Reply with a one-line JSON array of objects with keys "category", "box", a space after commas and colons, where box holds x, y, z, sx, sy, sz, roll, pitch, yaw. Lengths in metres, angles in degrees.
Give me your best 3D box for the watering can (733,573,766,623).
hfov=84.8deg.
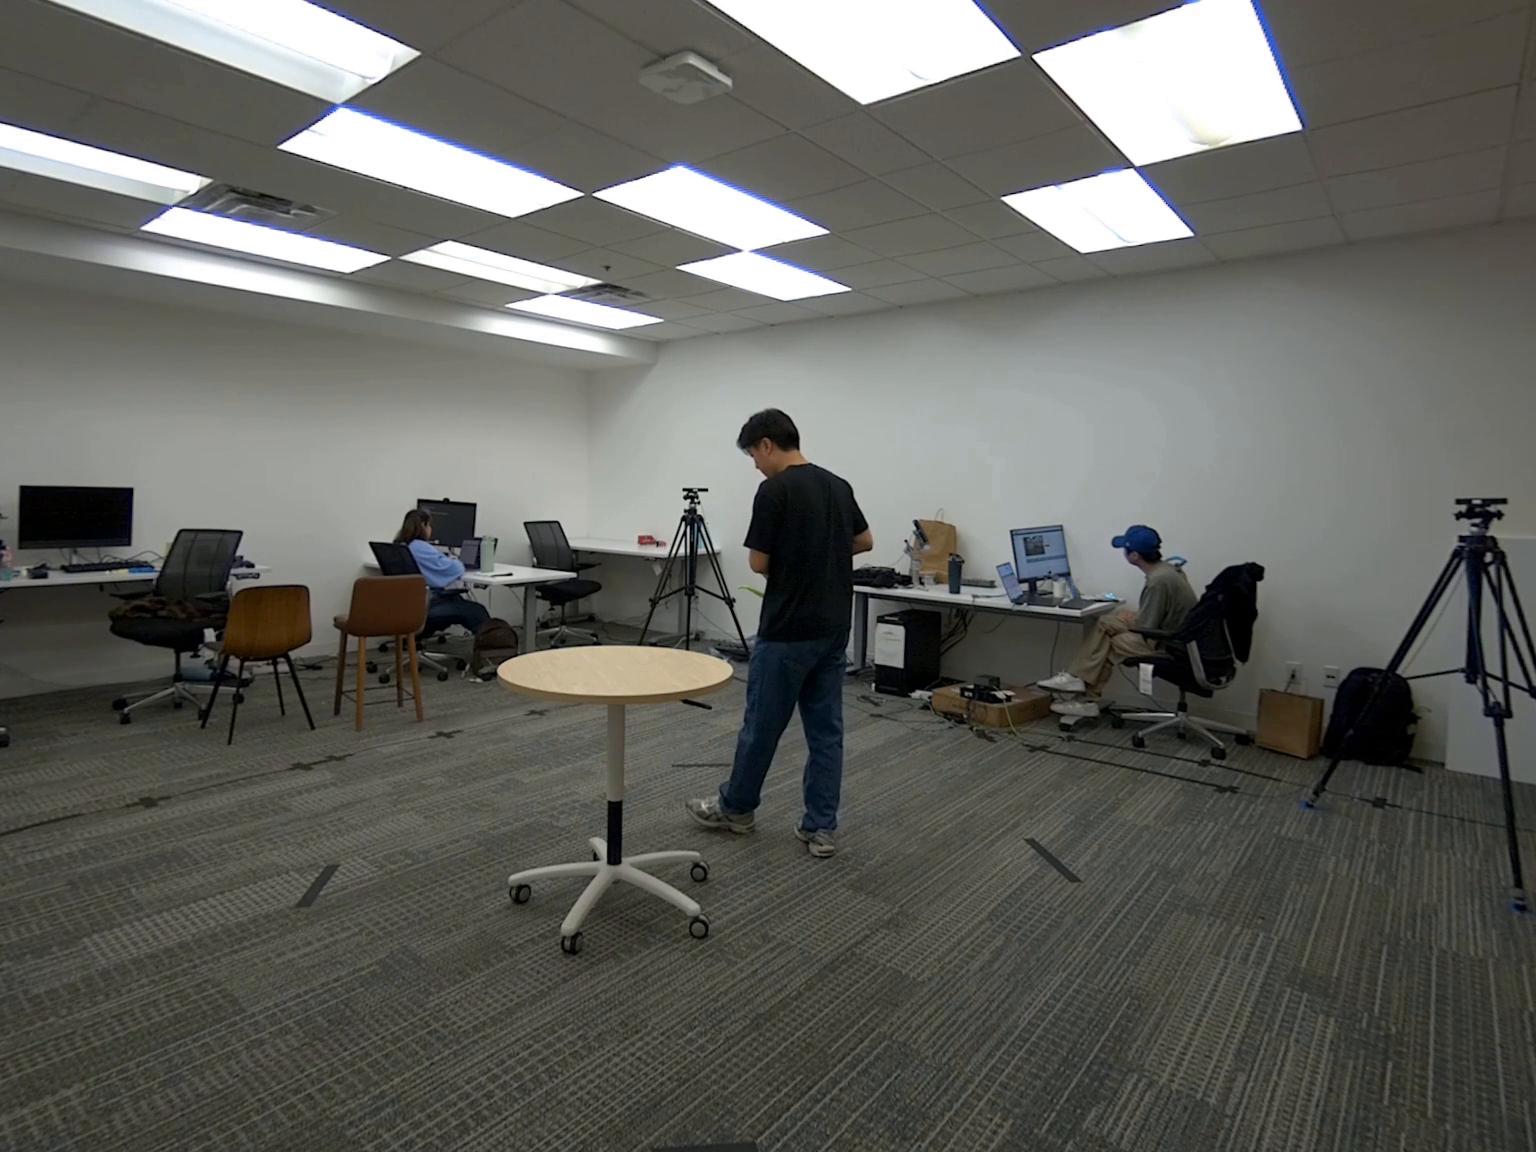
[{"category": "watering can", "box": [0.020, 0.056, 3.599, 0.282, 0.176, 0.097, -25, 3, 29]}]
